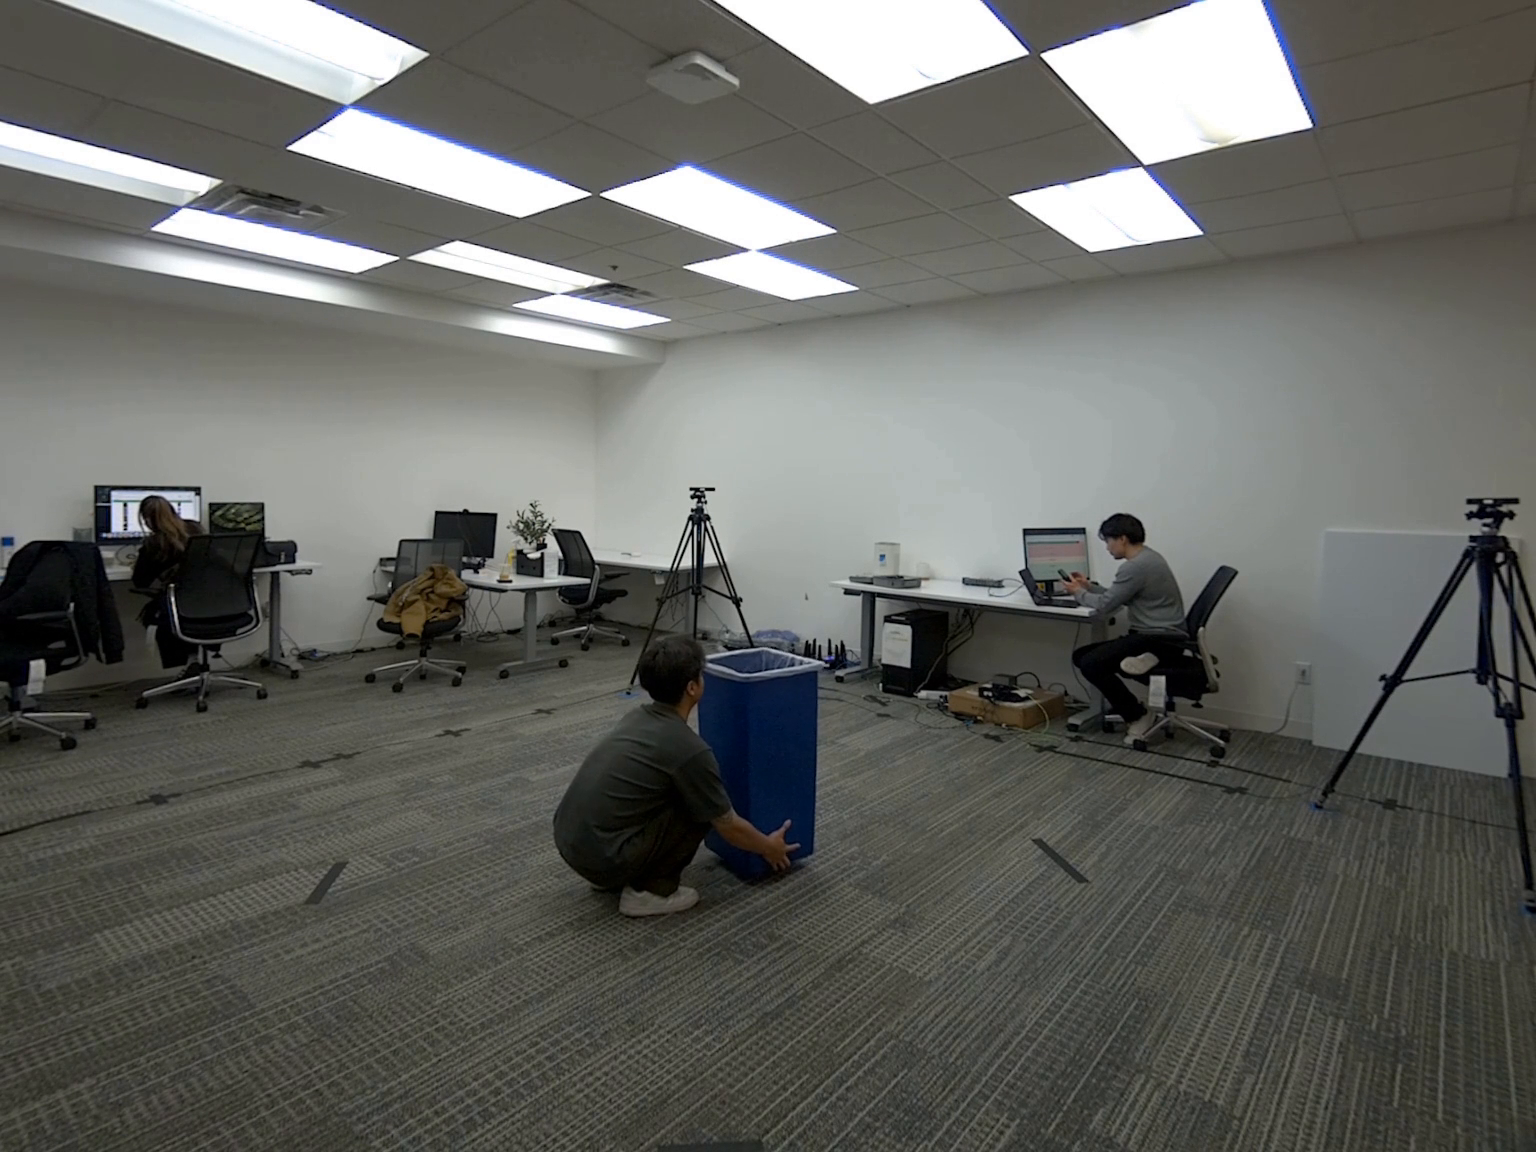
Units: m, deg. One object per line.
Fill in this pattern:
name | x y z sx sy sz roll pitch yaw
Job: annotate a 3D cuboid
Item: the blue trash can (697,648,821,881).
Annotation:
blue trash can | -0.052 0.654 3.163 0.367 0.711 0.386 -3 5 -36
